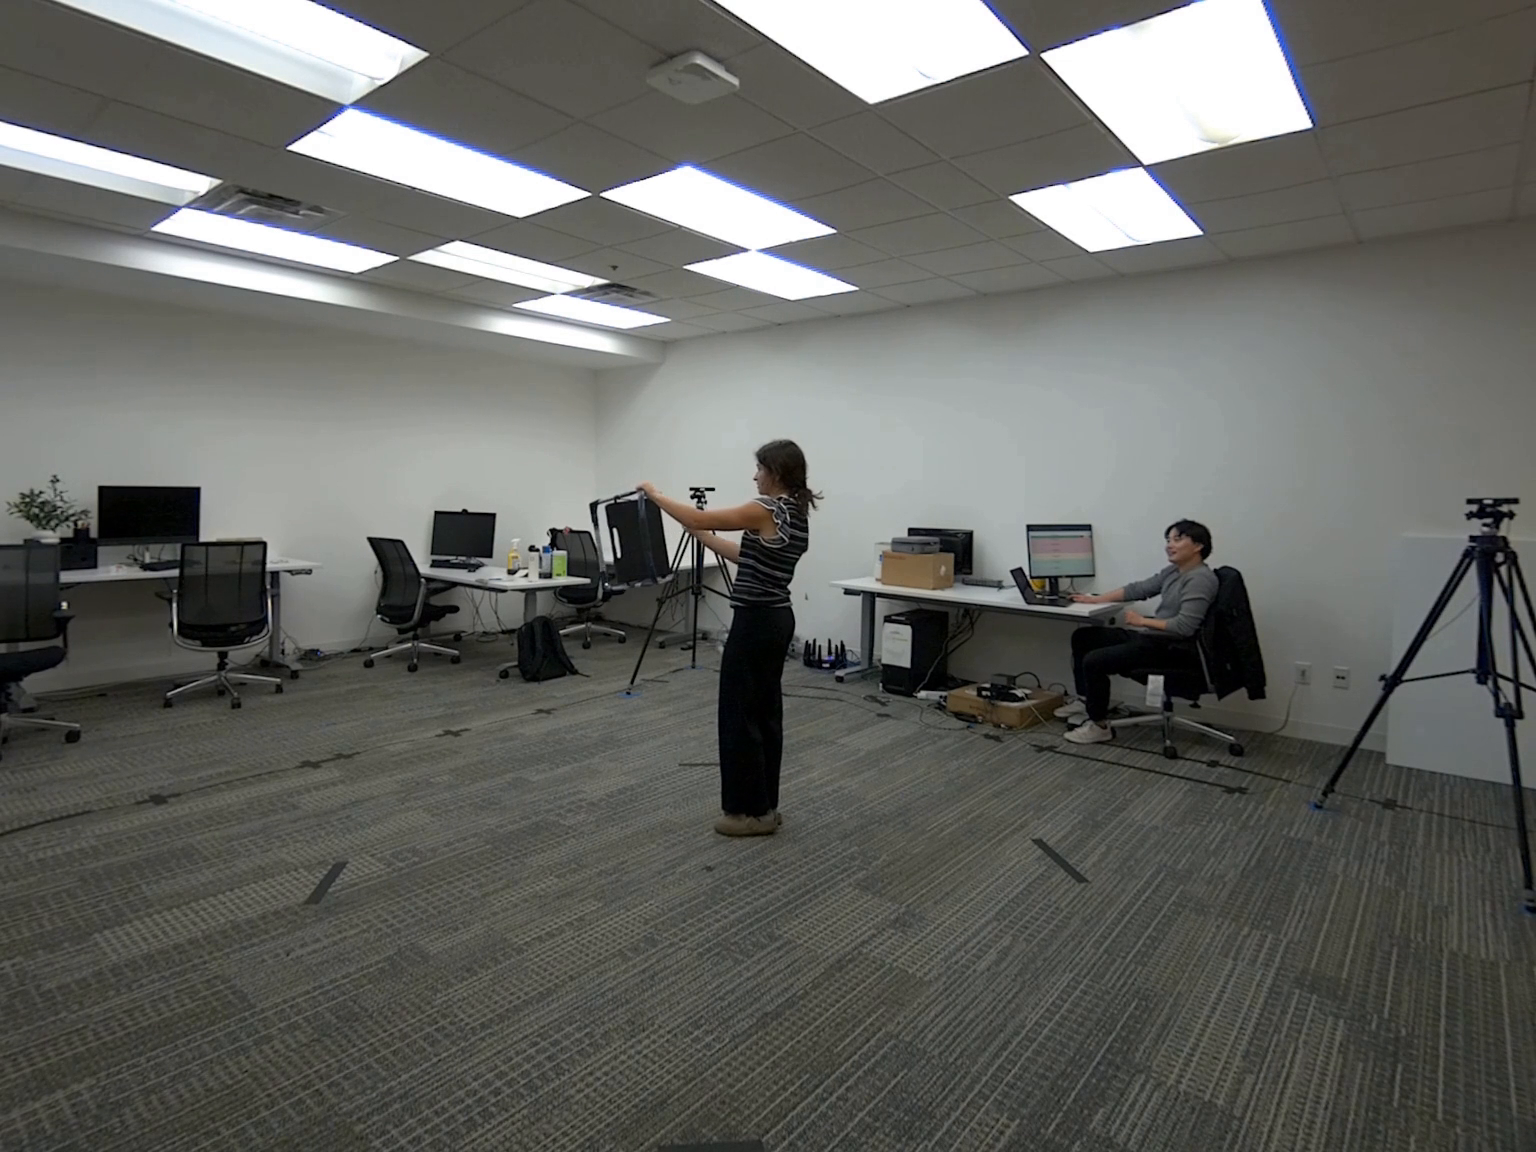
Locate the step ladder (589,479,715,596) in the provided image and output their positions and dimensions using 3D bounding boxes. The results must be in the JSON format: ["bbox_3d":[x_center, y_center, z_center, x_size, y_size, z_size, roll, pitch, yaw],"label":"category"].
[{"bbox_3d":[-0.527,-0.163,3.685,0.343,0.430,0.618,-8,2,-22],"label":"step ladder"}]
